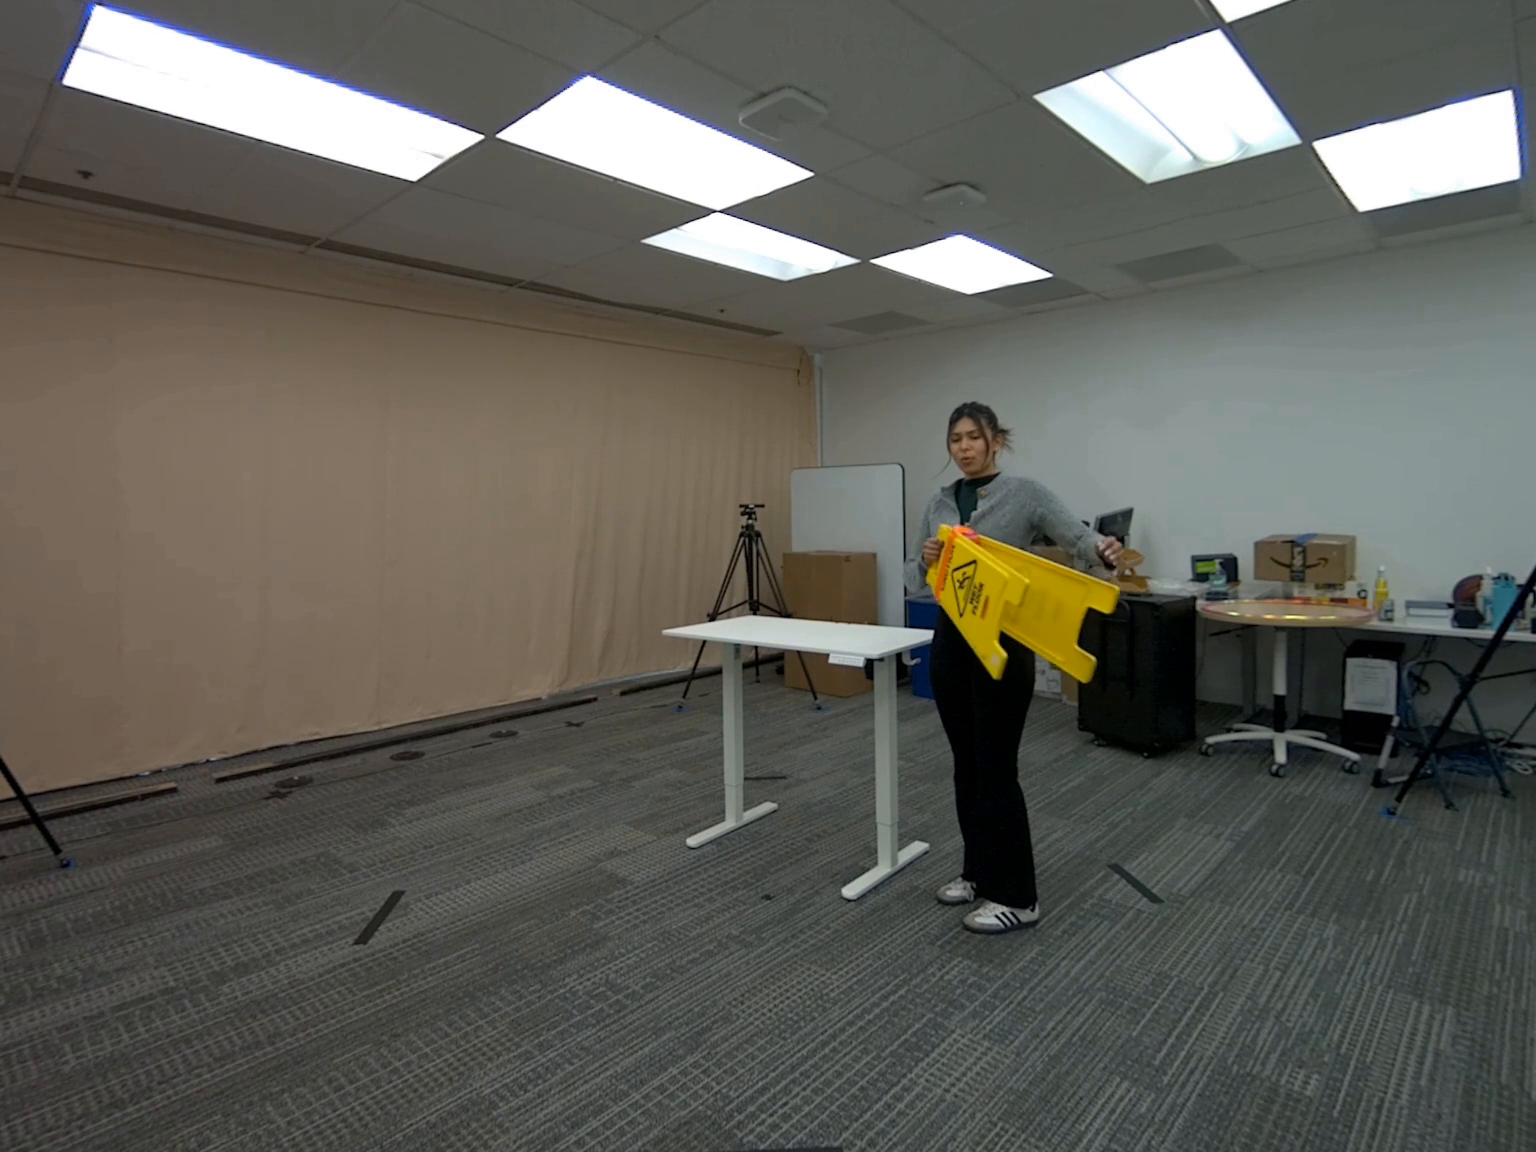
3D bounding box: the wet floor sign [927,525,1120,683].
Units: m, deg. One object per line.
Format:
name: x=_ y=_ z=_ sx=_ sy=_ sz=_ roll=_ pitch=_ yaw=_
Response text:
wet floor sign: x=0.650 y=0.035 z=2.470 sx=0.284 sy=0.280 sz=0.664 roll=3 pitch=19 yaw=-20
